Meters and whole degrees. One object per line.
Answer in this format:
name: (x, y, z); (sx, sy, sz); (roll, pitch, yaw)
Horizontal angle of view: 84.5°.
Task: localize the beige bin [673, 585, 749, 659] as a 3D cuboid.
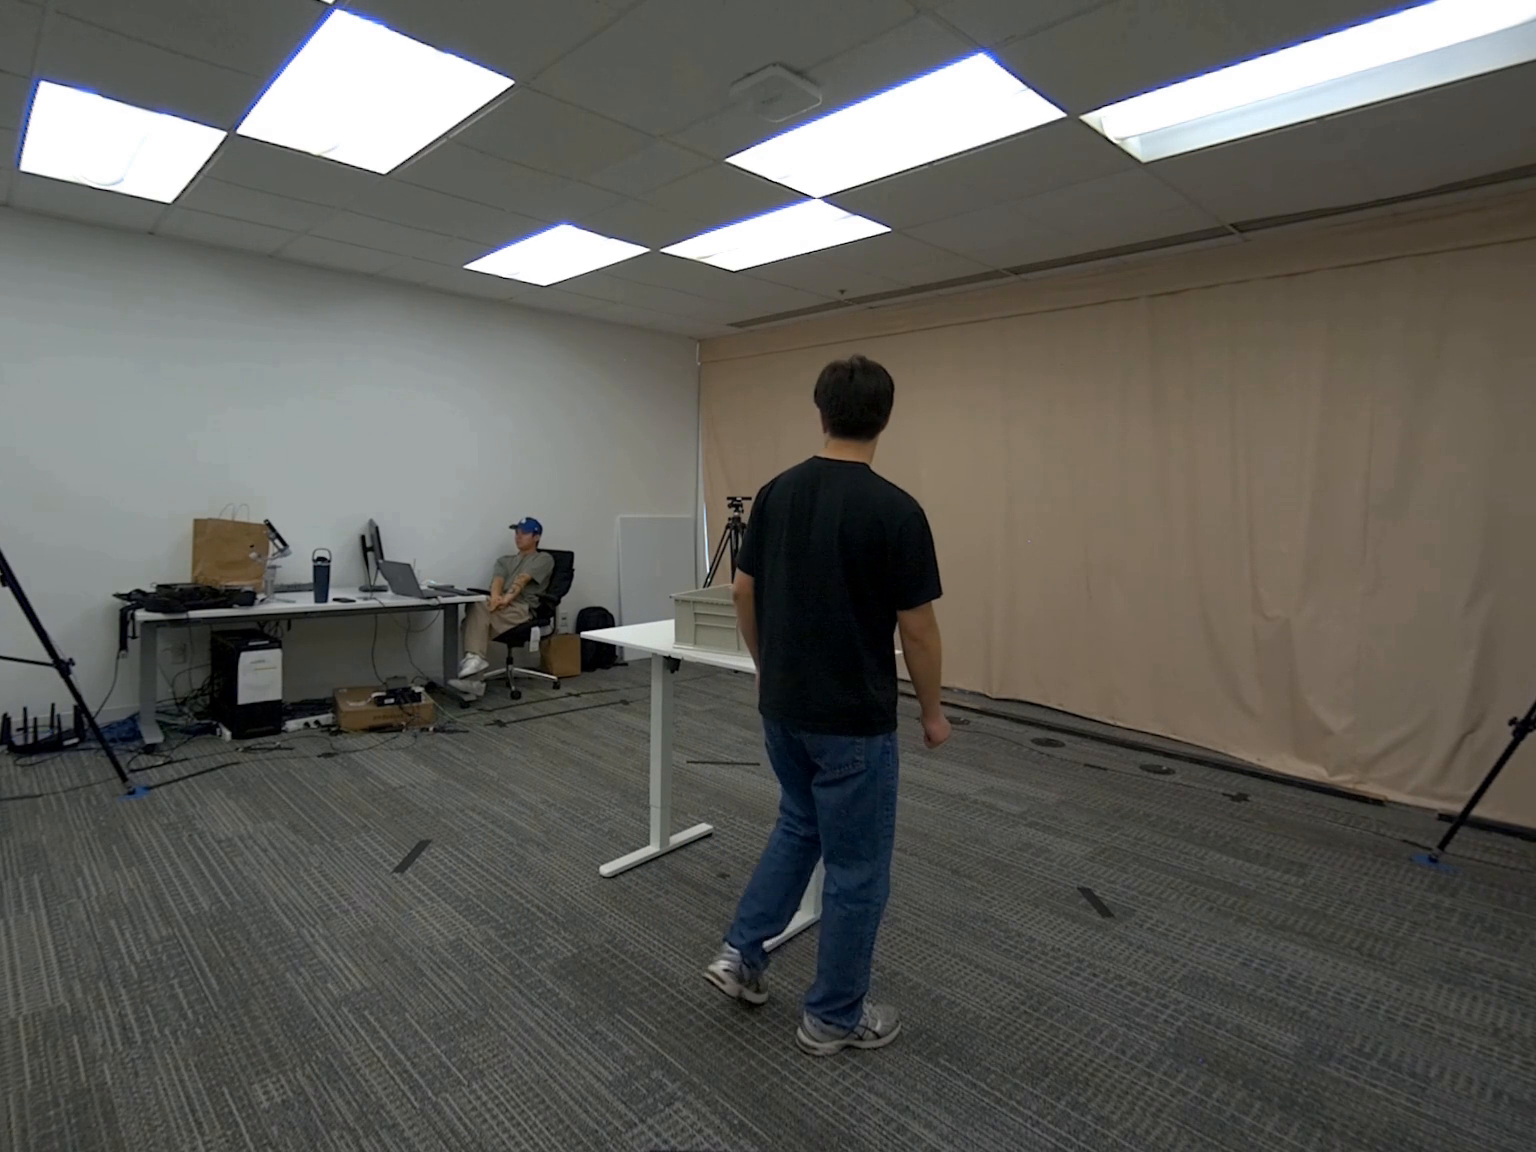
beige bin: (-0.078, 0.157, 2.932); (0.385, 0.188, 0.415); (3, 6, 27)
